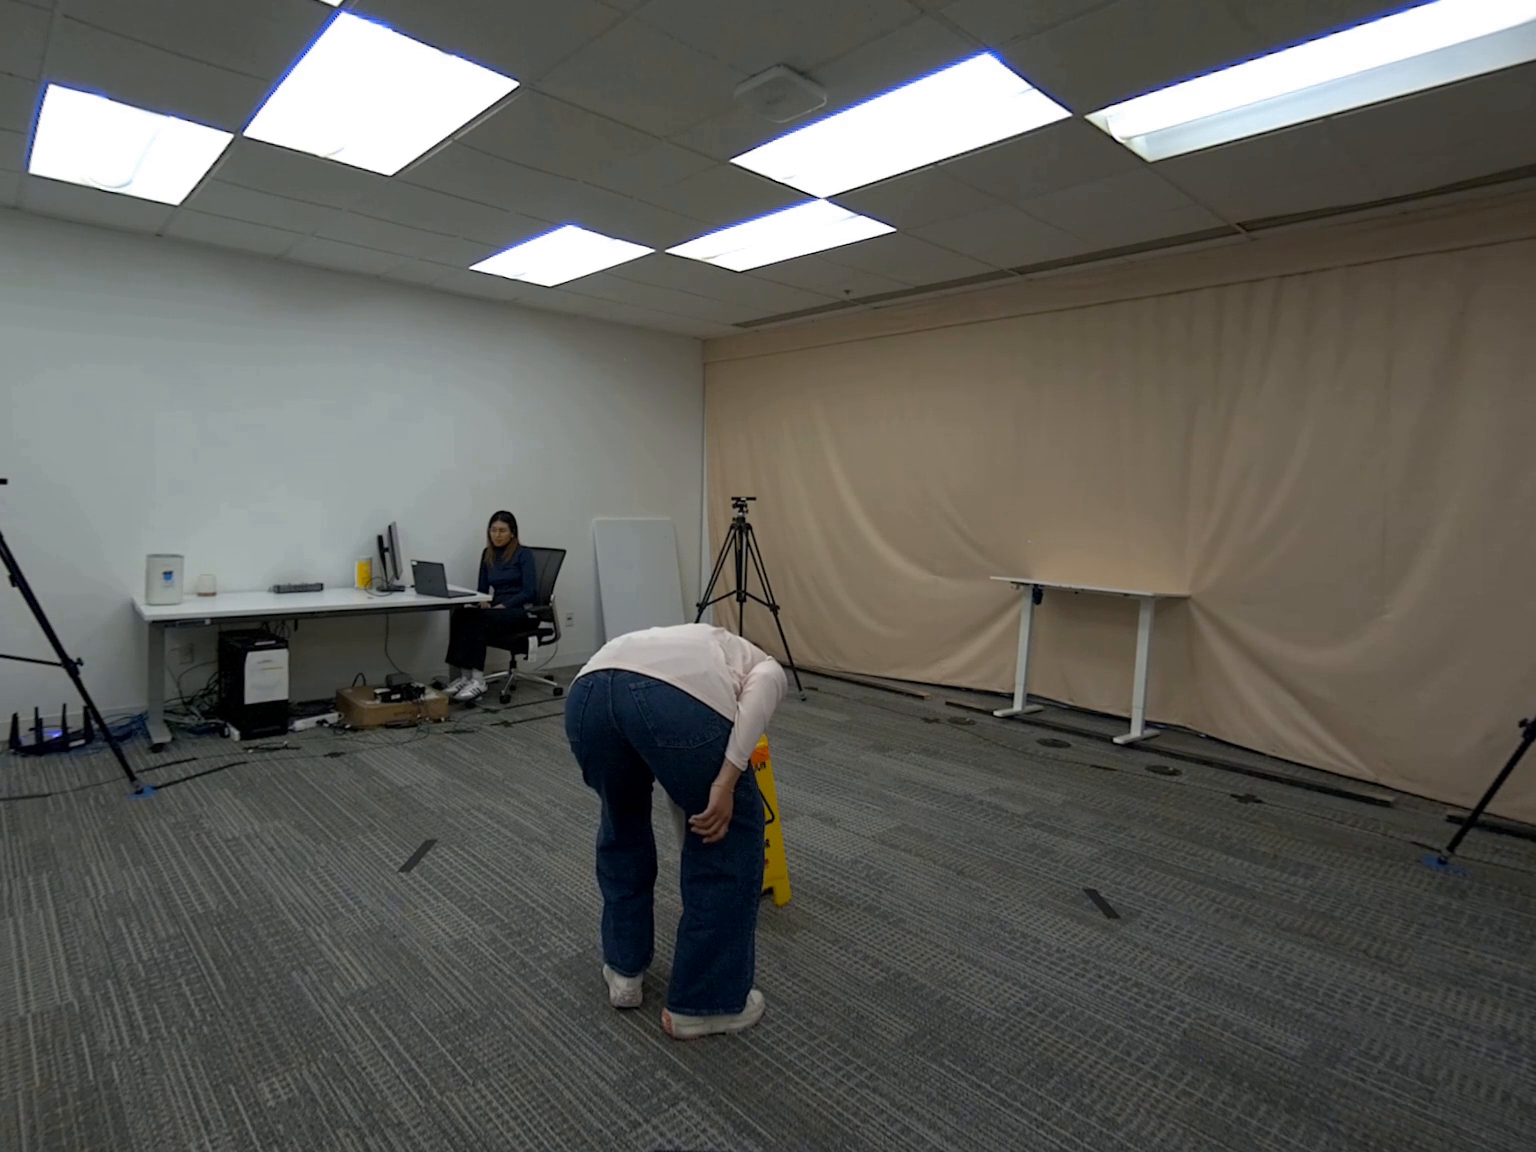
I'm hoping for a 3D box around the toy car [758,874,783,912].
[{"bbox_3d":[-0.085,1.098,2.935,0.134,0.083,0.247,9,-3,41],"label":"toy car"}]
